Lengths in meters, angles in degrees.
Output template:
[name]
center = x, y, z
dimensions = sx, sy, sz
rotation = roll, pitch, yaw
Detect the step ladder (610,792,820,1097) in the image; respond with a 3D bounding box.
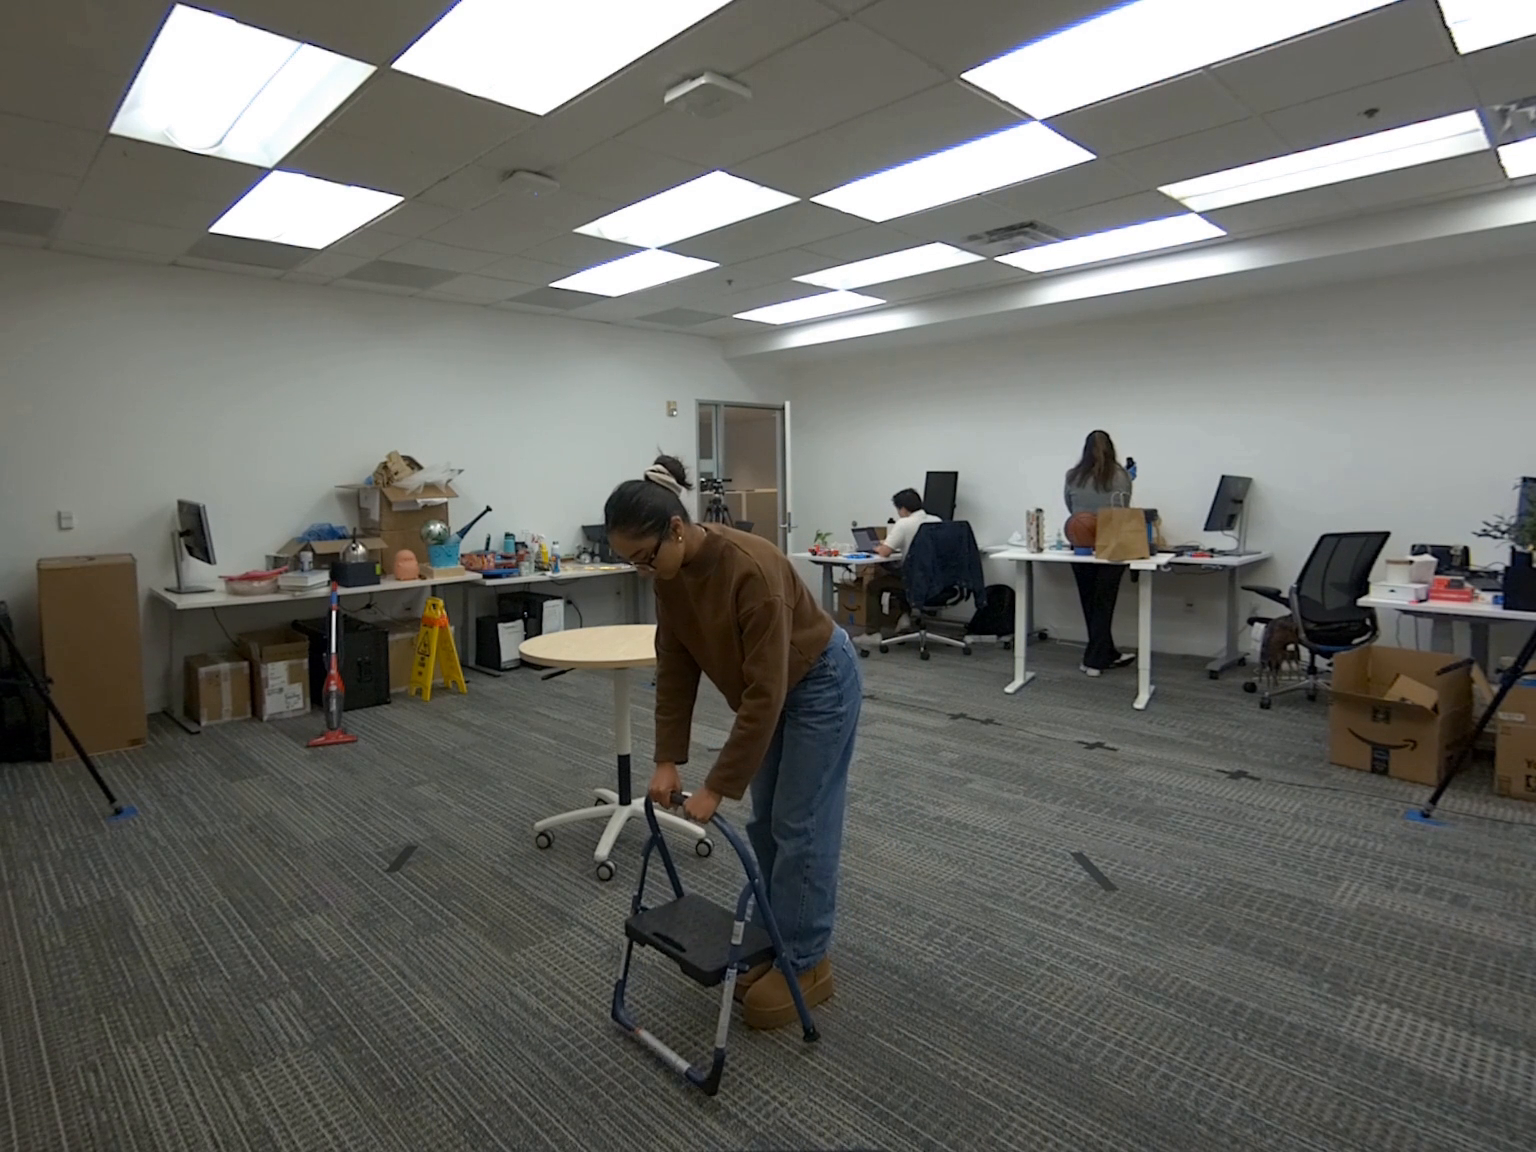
[step ladder]
center = -0.148, 0.843, 2.137
dimensions = 0.339, 0.605, 0.443
rotation = -2, 3, -42
